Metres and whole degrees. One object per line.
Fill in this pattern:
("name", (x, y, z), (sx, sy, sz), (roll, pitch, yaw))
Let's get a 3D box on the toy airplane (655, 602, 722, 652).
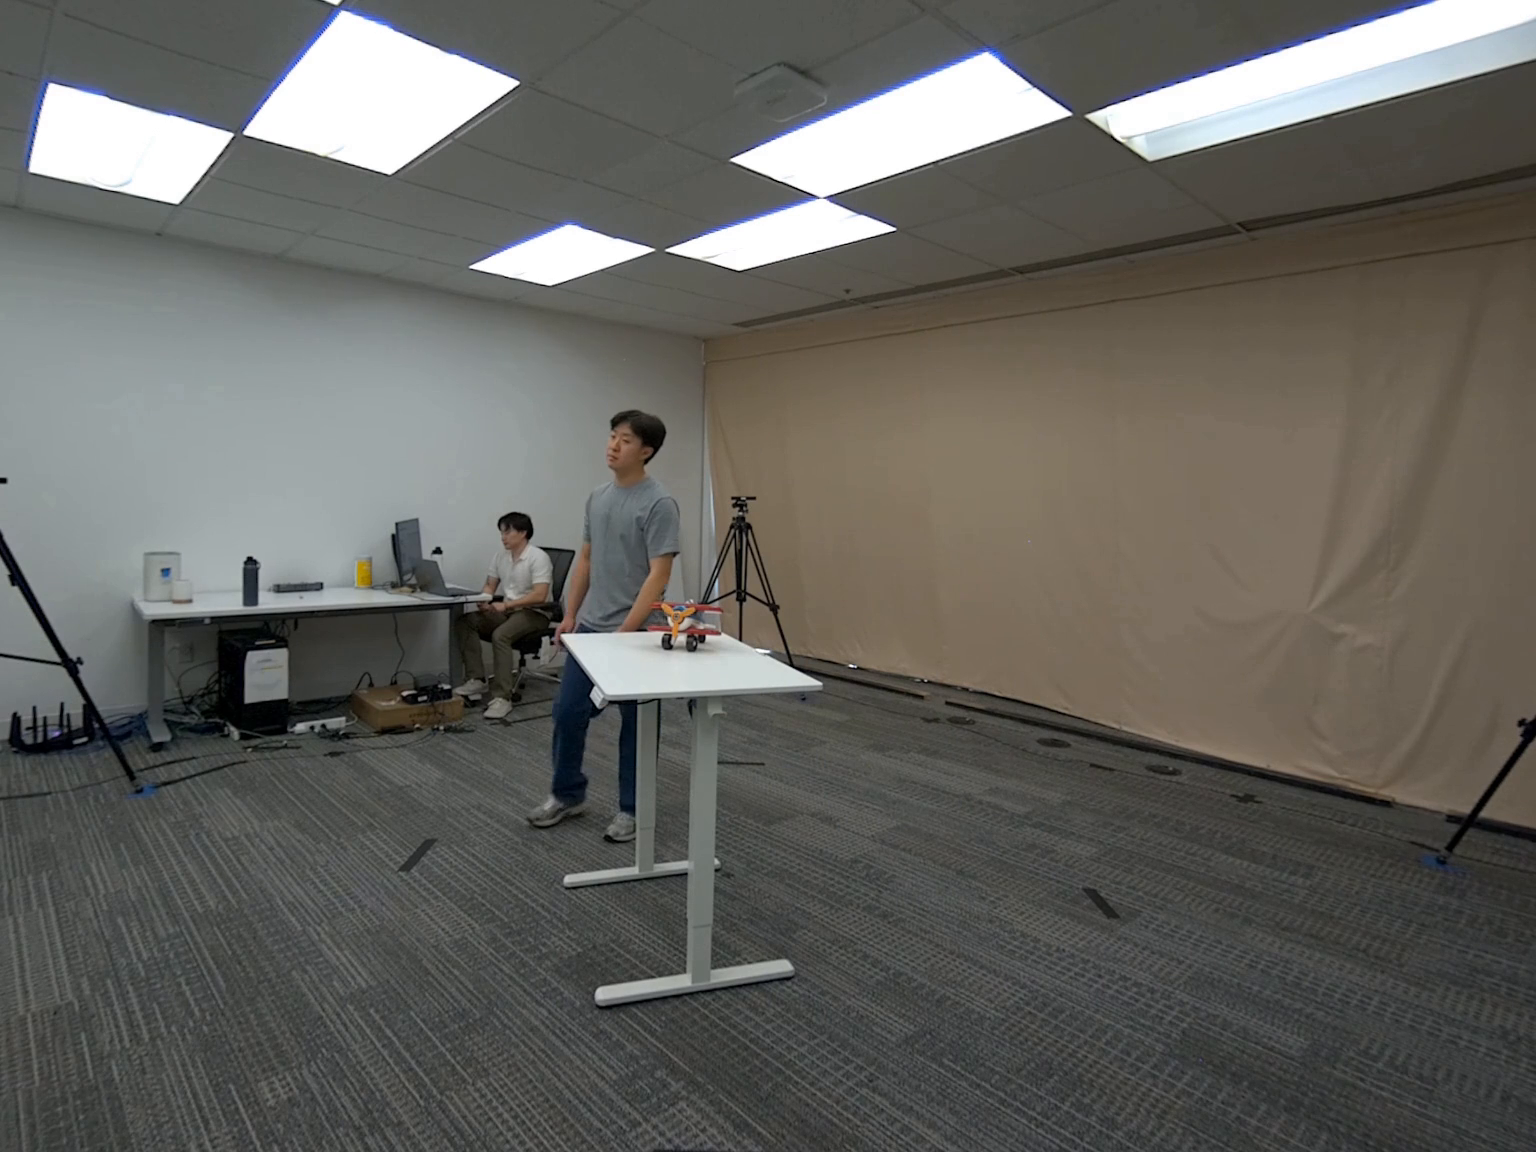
("toy airplane", (-0.298, 0.162, 2.872), (0.248, 0.156, 0.263), (1, 5, -16))
